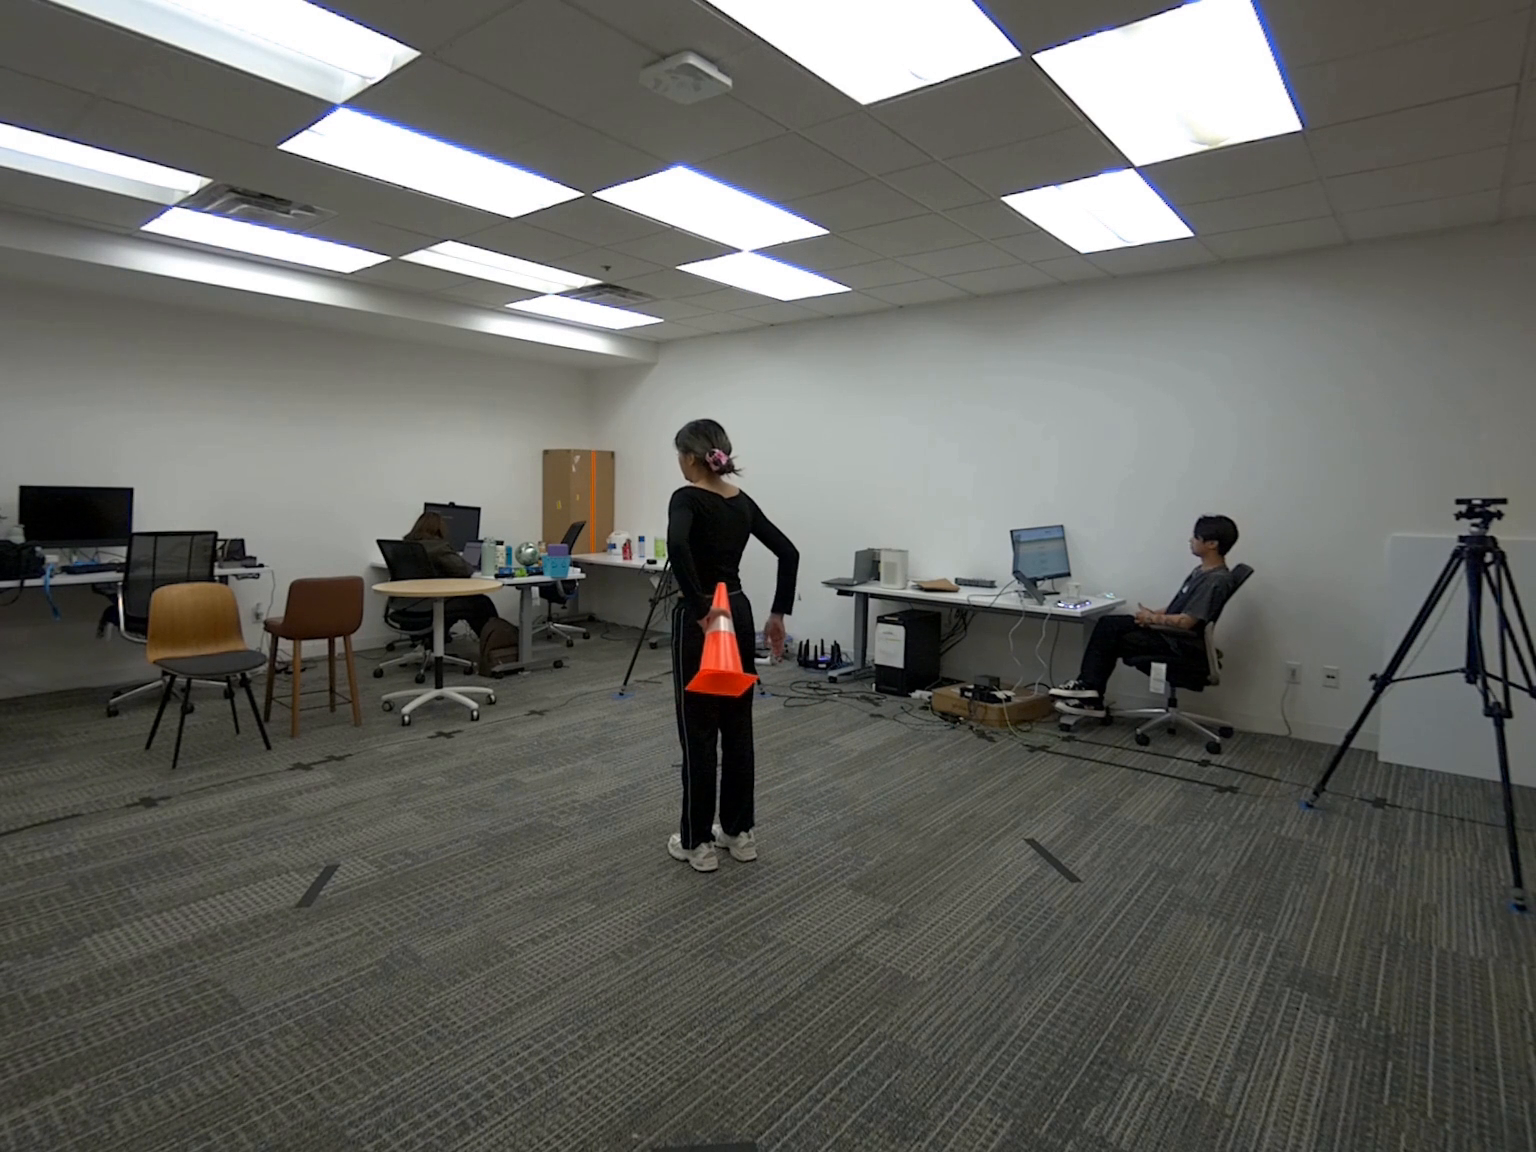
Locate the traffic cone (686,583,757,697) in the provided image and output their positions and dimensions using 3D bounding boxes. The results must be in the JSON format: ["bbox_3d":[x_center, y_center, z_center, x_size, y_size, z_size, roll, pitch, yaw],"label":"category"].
[{"bbox_3d":[-0.166,0.190,2.940,0.201,0.393,0.202,11,-33,-16],"label":"traffic cone"}]
